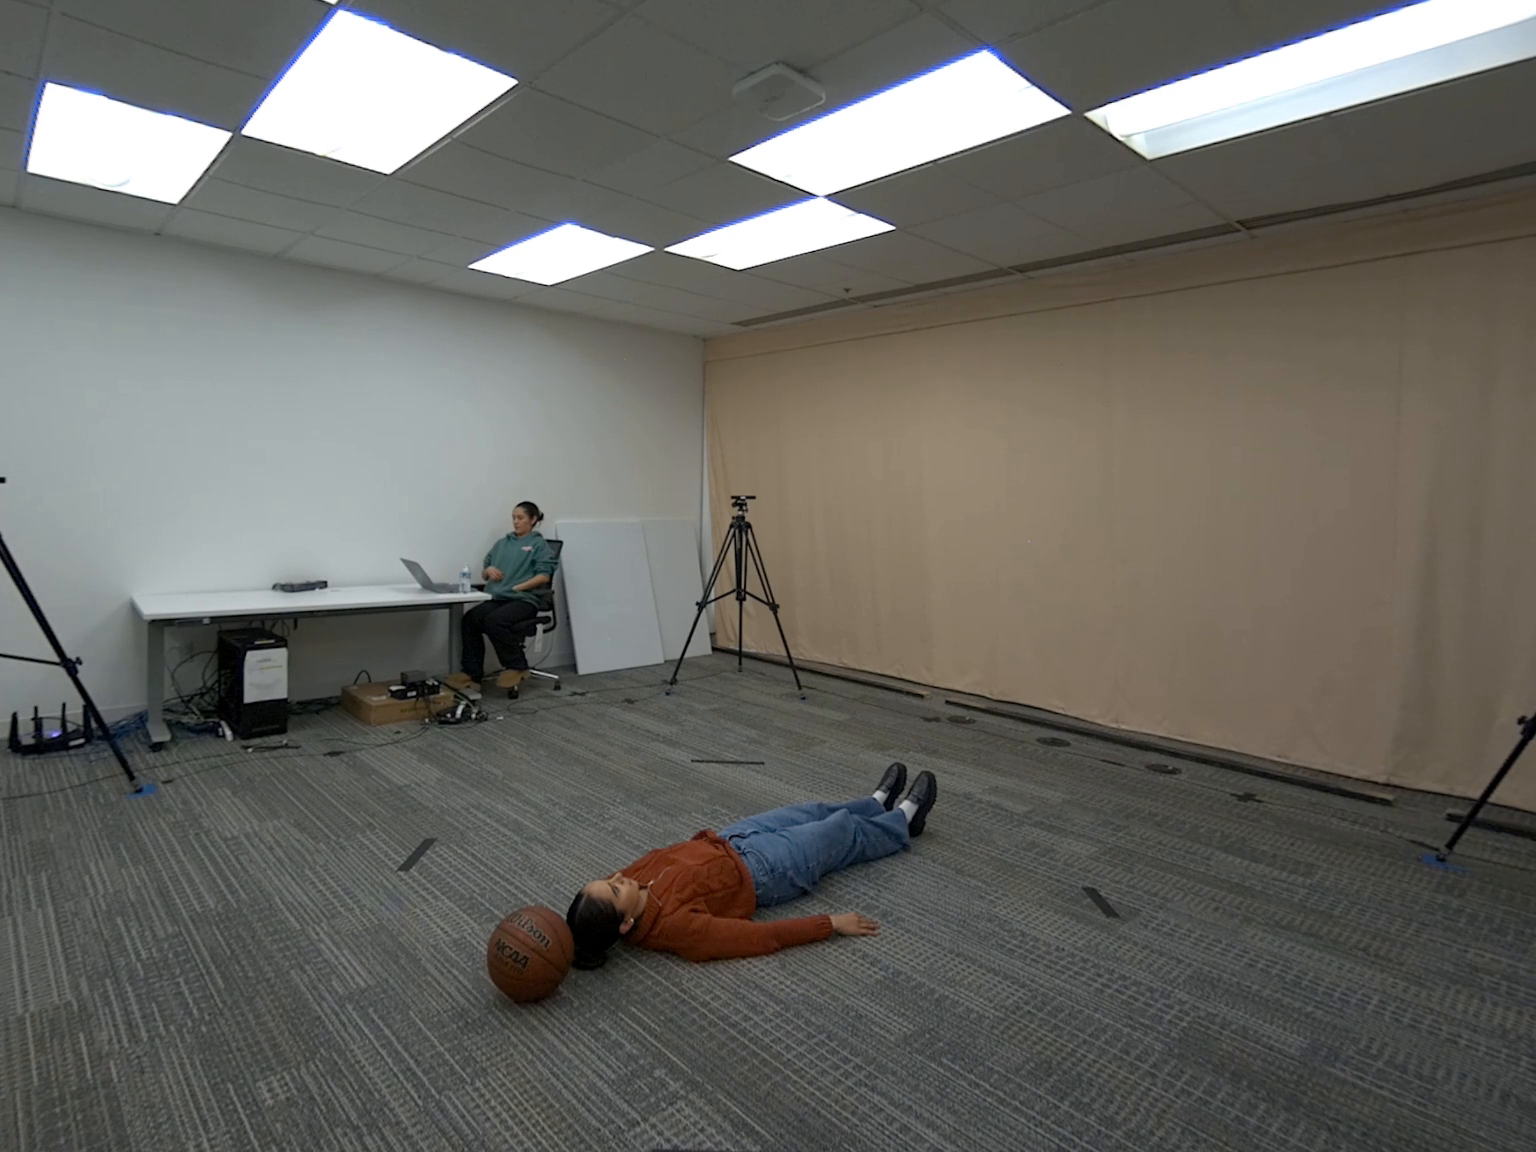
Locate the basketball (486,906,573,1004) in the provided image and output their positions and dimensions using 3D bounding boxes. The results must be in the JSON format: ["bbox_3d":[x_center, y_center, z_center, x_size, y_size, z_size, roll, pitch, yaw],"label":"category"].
[{"bbox_3d":[-0.659,1.043,2.337,0.236,0.234,0.237,0,8,-1],"label":"basketball"}]
